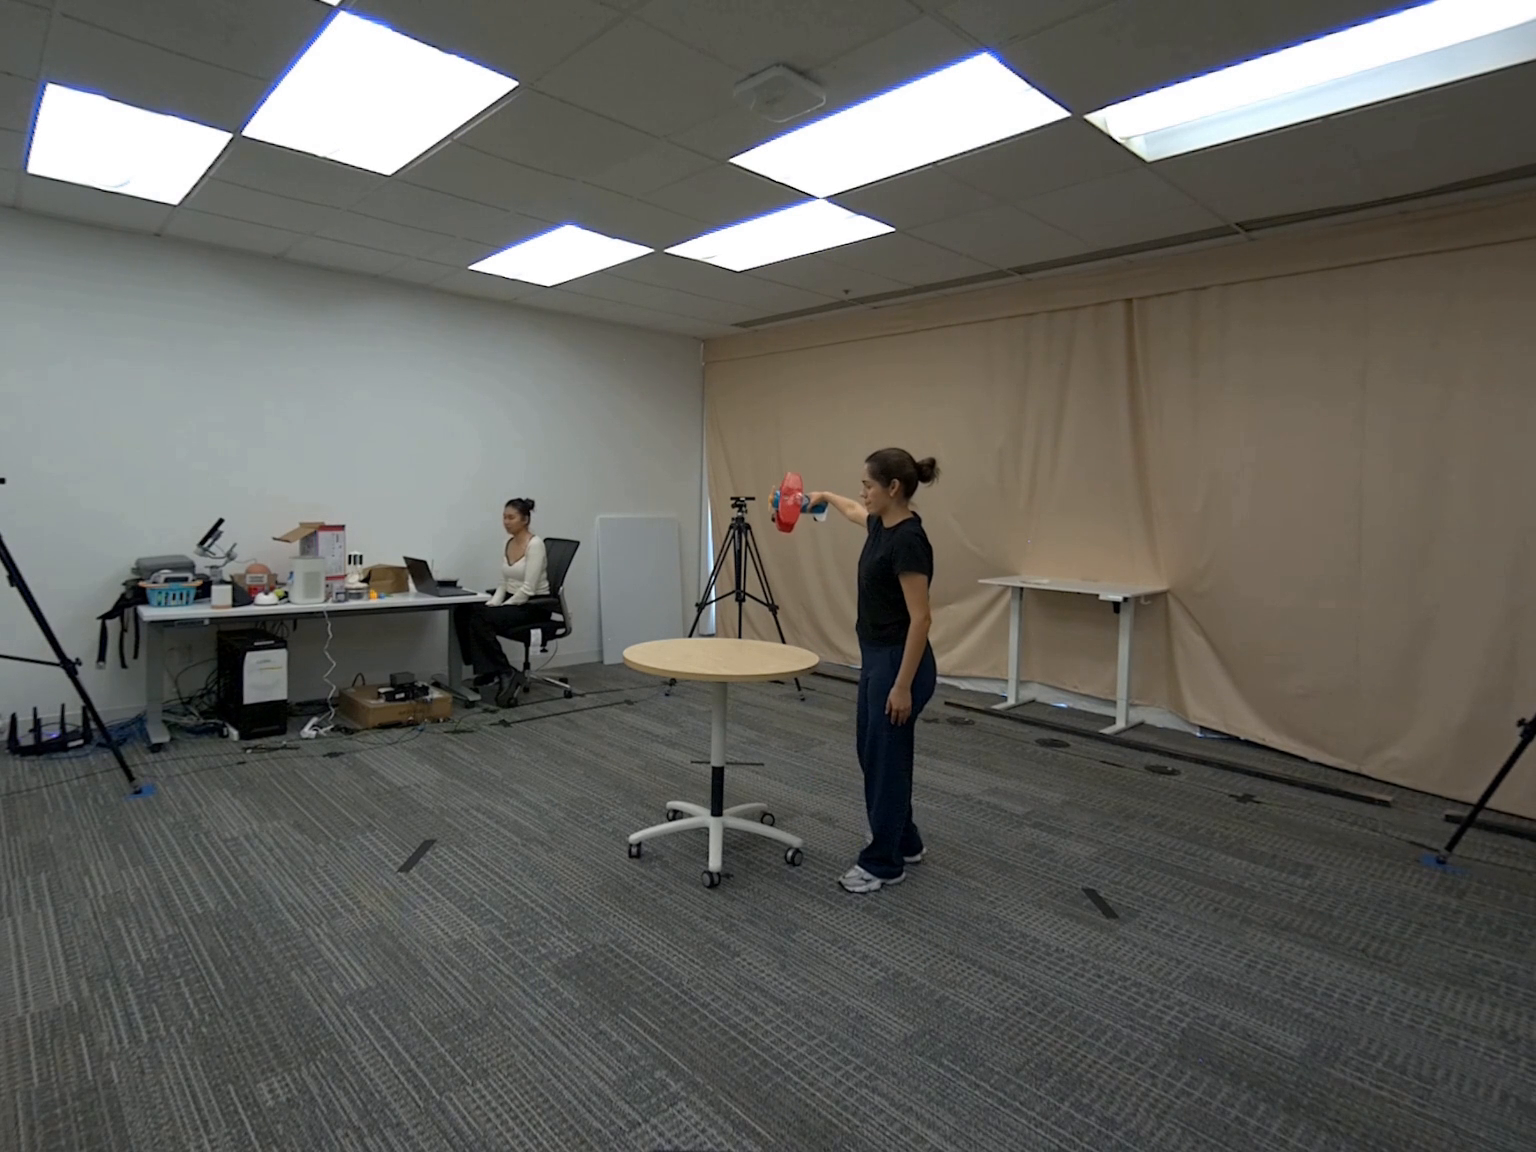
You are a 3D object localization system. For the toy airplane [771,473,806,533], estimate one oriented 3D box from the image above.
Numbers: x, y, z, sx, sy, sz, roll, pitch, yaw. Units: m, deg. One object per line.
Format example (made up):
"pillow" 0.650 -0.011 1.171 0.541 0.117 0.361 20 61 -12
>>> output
"toy airplane" 0.122 -0.323 3.693 0.258 0.257 0.153 -21 -25 -8
